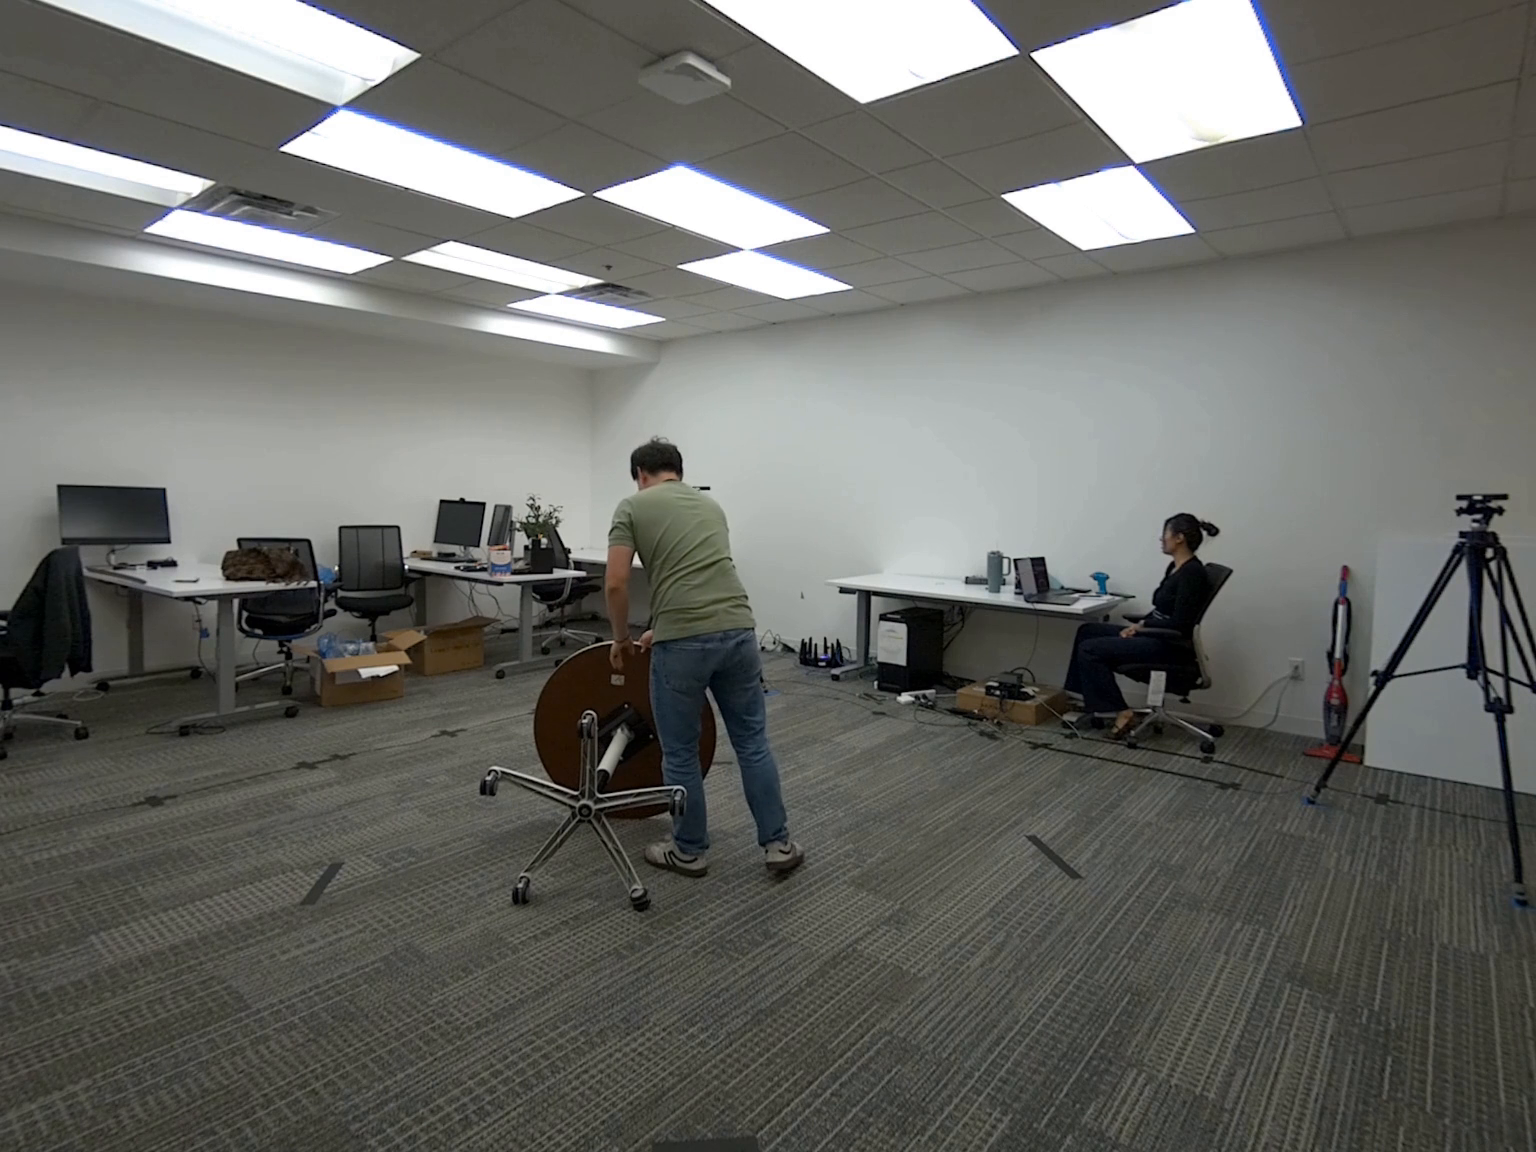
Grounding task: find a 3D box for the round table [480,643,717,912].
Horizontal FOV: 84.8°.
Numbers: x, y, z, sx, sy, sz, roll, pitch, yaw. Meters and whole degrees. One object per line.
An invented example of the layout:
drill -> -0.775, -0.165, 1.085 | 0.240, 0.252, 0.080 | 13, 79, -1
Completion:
round table -> -0.610, 0.722, 3.135 | 0.767, 0.756, 0.799 | 1, 11, 3
